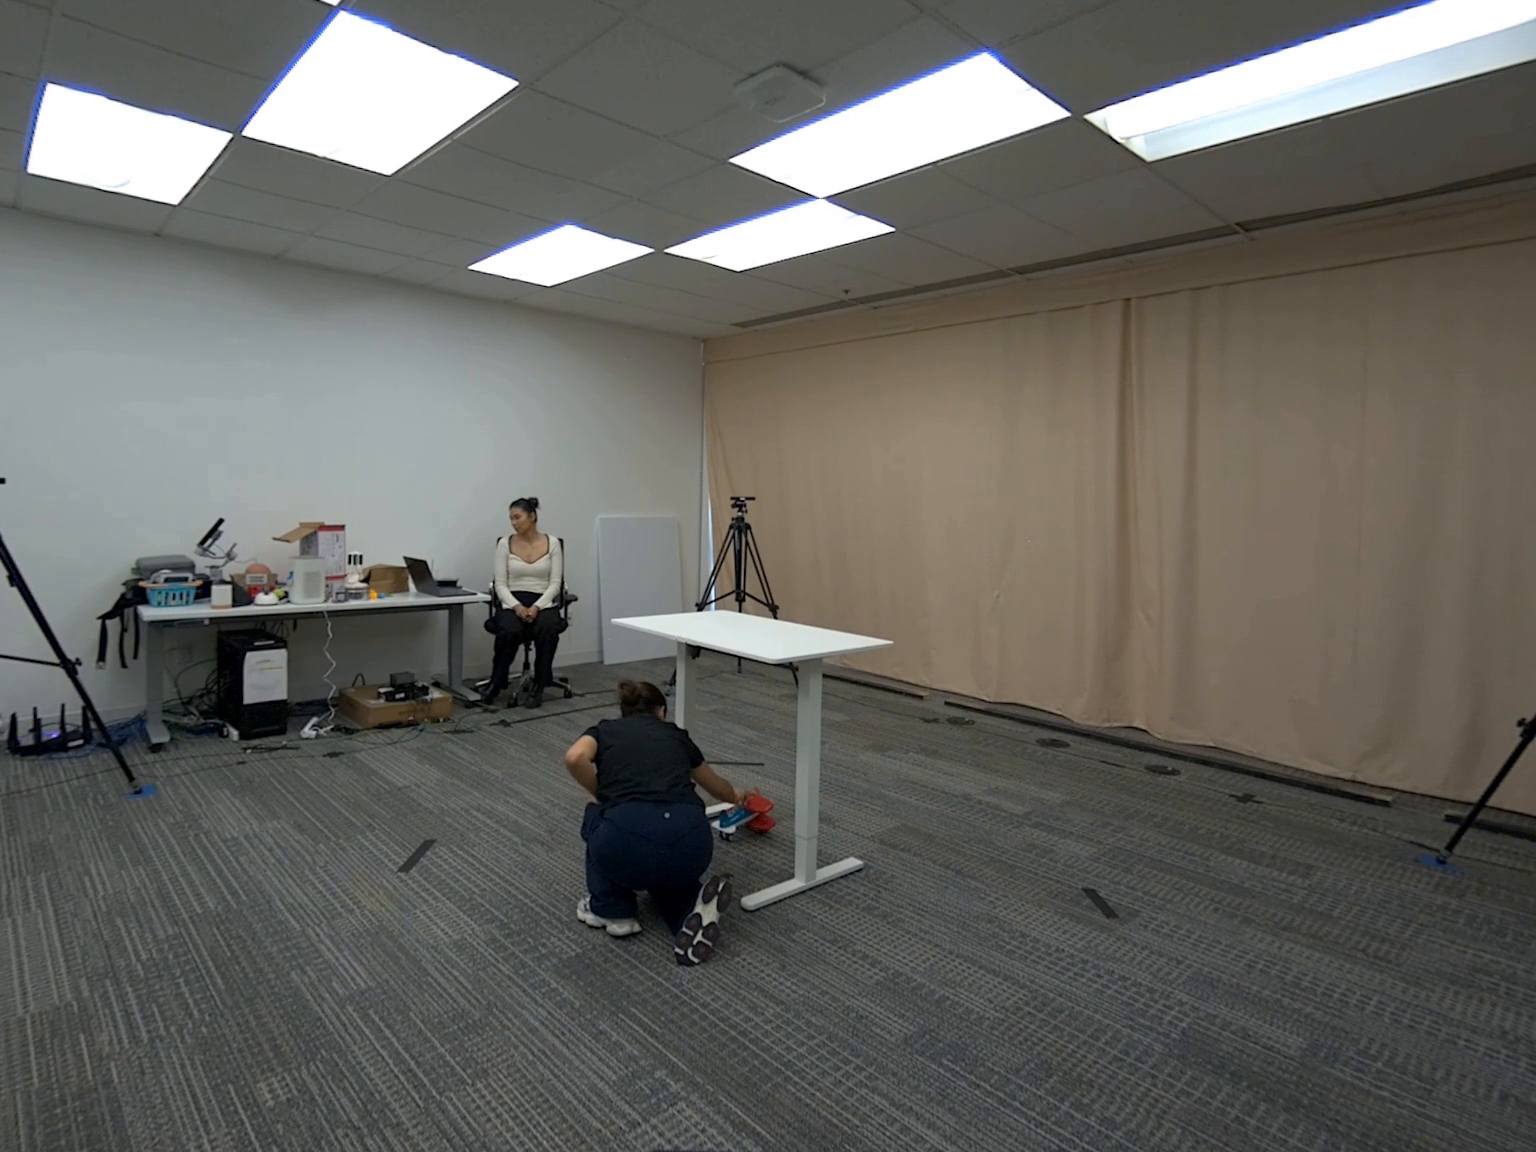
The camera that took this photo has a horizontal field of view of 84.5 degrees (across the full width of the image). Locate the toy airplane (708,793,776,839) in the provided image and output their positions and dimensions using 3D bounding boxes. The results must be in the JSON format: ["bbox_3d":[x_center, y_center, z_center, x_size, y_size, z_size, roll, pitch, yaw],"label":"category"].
[{"bbox_3d":[-0.097,1.002,3.469,0.254,0.156,0.256,3,3,16],"label":"toy airplane"}]
